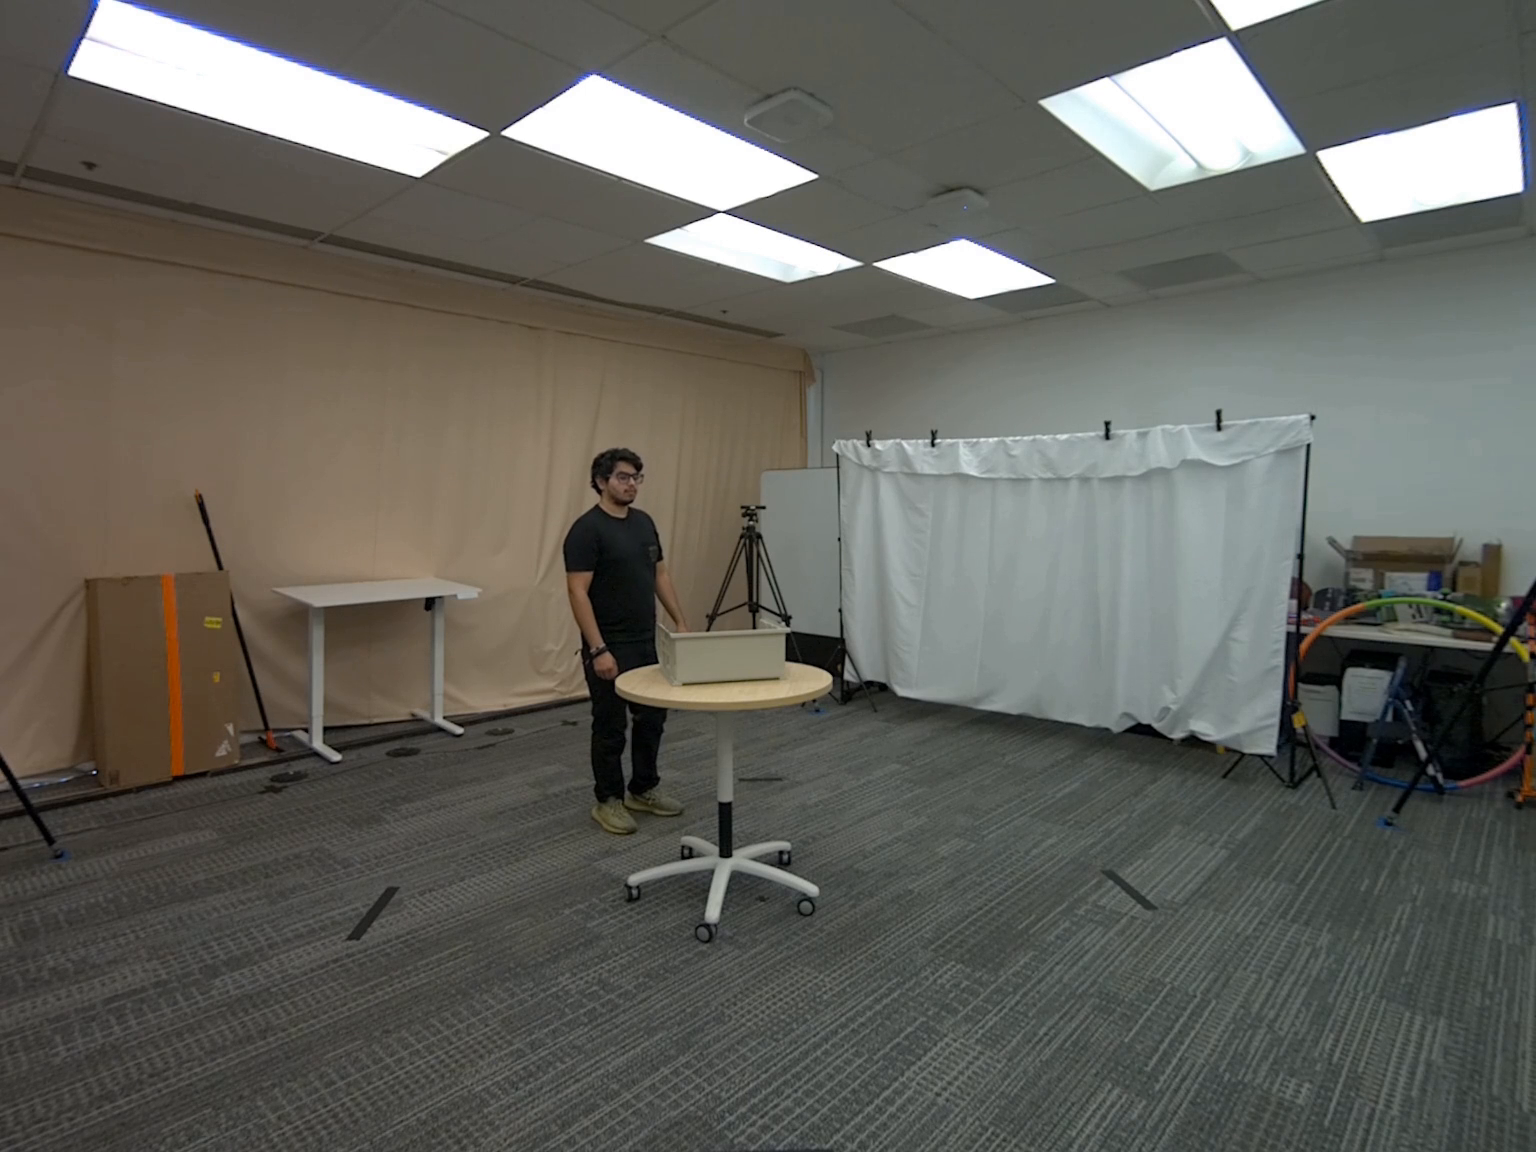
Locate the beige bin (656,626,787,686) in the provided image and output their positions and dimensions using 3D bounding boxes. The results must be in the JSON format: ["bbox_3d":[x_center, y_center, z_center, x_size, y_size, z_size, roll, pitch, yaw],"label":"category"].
[{"bbox_3d":[-0.173,0.263,3.054,0.416,0.188,0.384,-1,6,-15],"label":"beige bin"}]
